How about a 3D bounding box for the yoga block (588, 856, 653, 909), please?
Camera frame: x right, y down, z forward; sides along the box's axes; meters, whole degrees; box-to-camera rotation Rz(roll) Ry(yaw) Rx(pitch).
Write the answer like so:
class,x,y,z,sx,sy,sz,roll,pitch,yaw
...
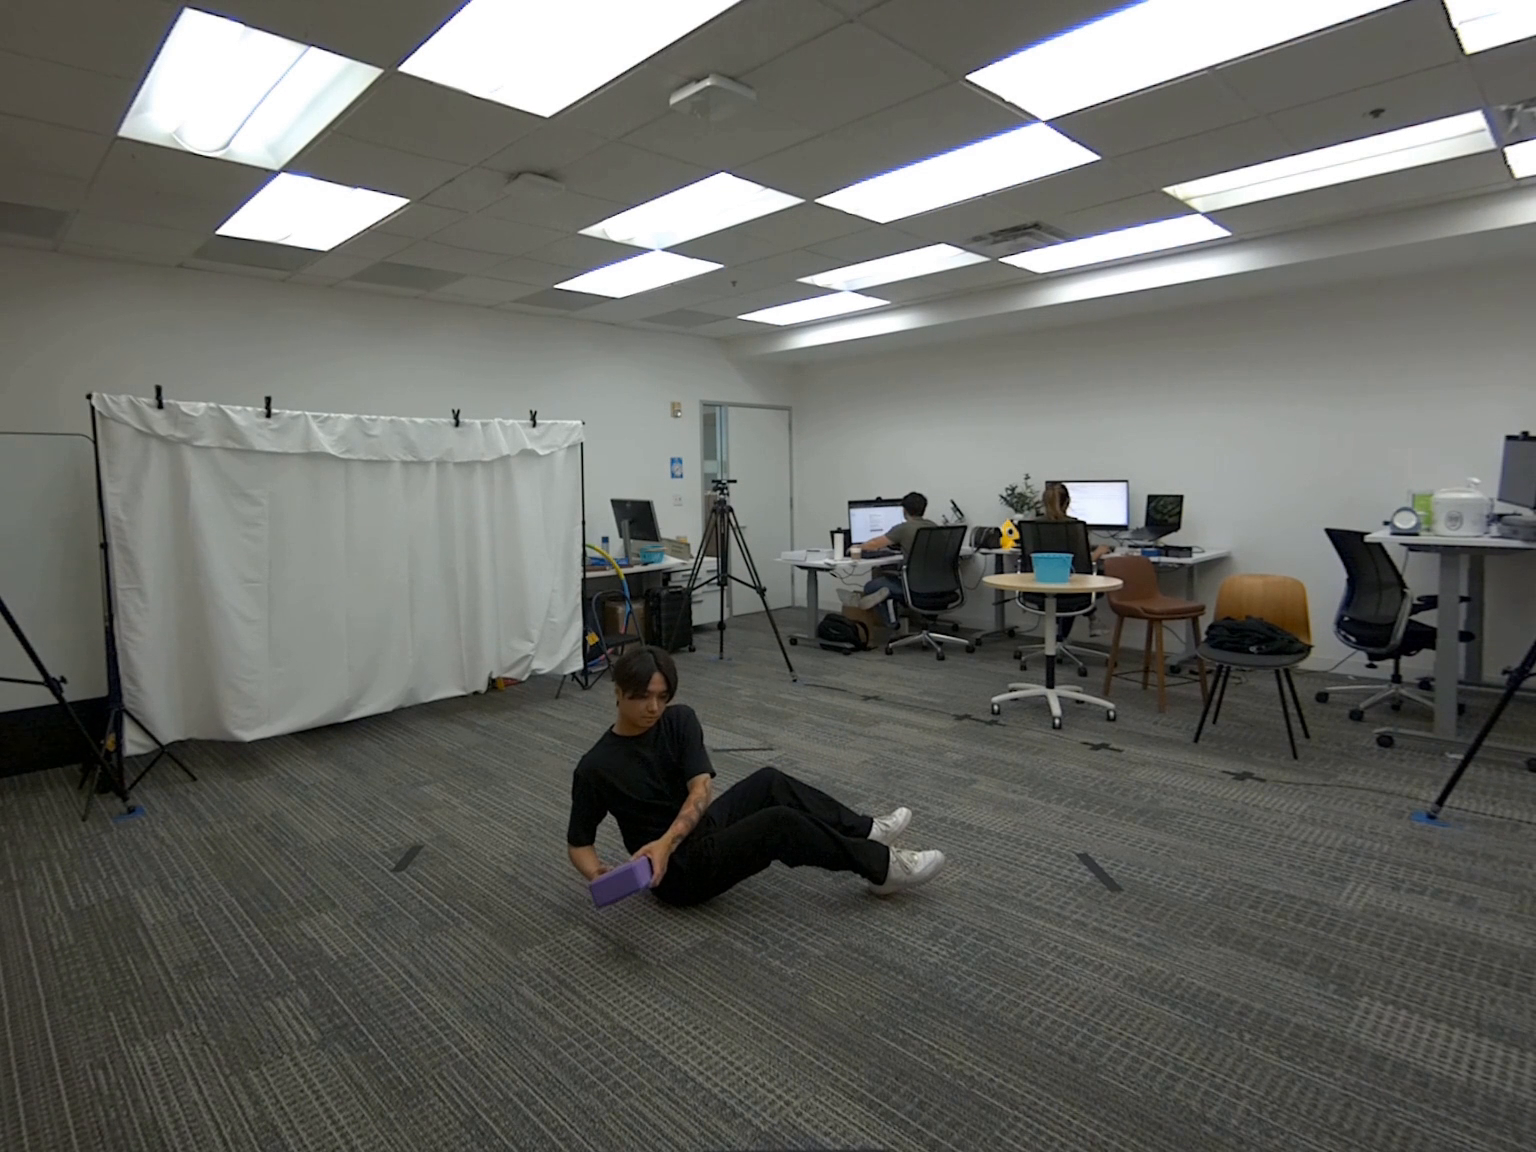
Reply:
class,x,y,z,sx,sy,sz,roll,pitch,yaw
yoga block,-0.416,0.888,2.486,0.149,0.077,0.226,-21,-10,-1
